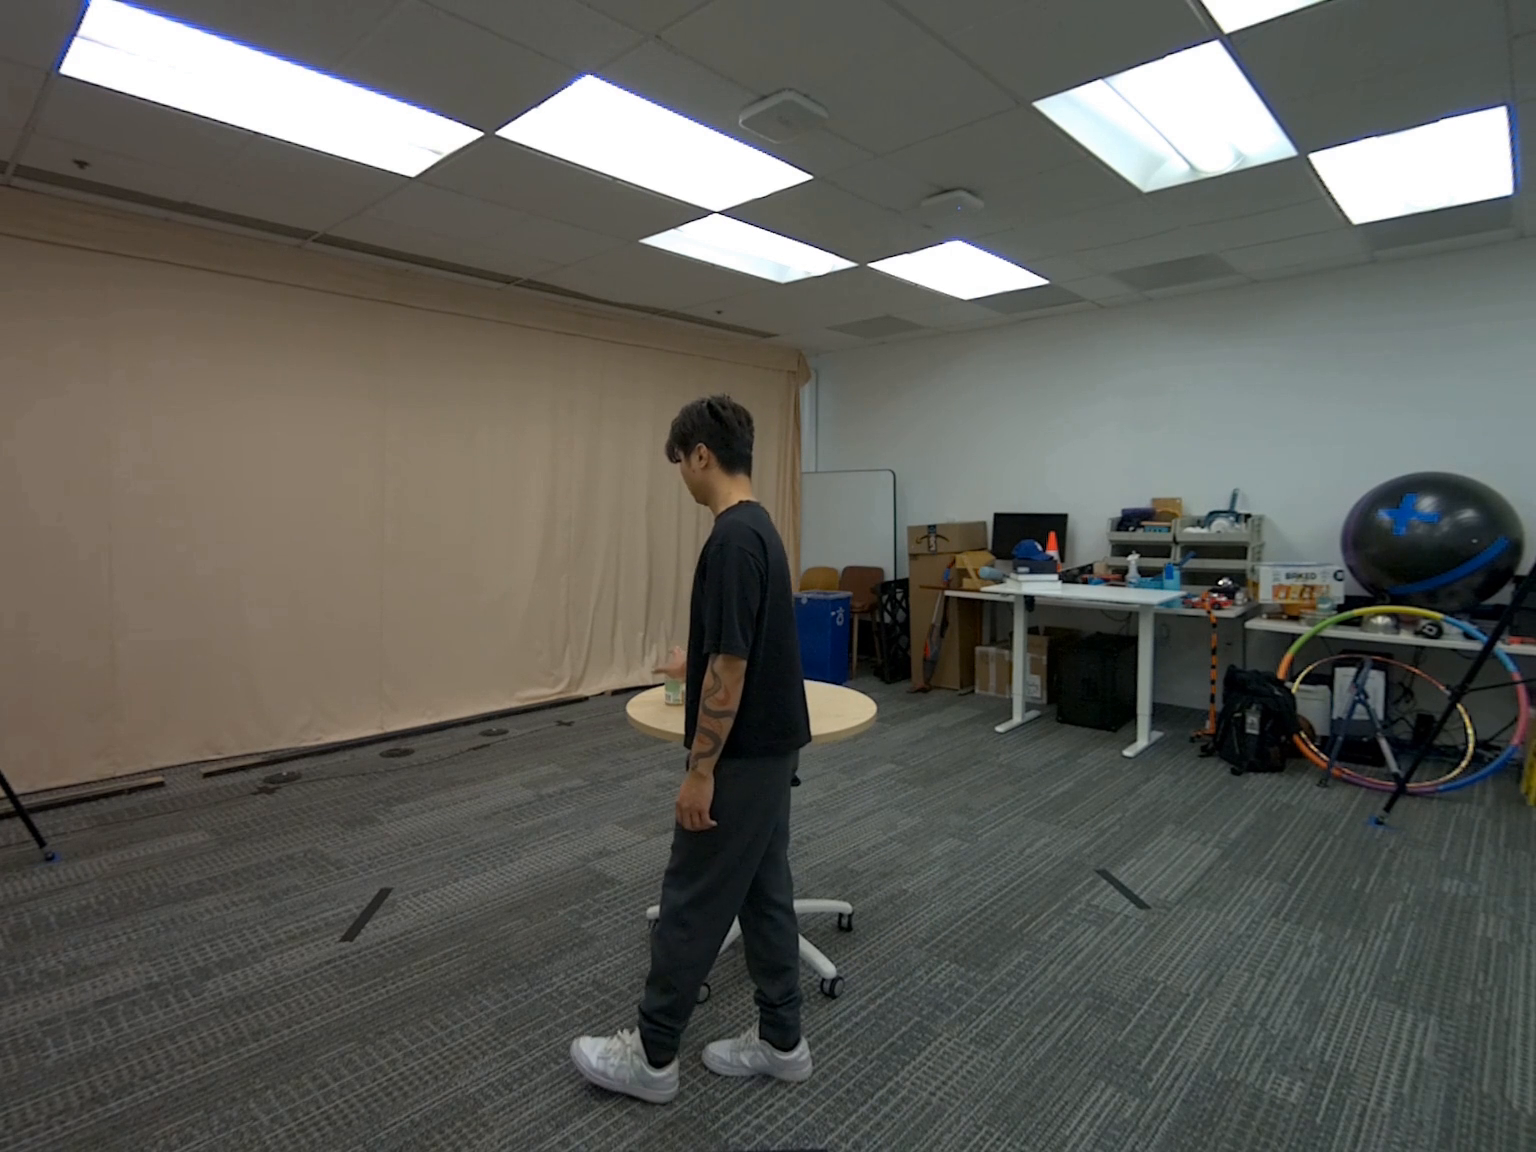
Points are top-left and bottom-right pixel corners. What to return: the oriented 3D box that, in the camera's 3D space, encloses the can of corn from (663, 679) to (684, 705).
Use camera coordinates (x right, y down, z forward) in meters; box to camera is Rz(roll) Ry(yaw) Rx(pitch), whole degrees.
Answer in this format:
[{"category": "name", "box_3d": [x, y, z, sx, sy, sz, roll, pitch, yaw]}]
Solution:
[{"category": "can of corn", "box_3d": [-0.274, 0.343, 2.589, 0.074, 0.111, 0.074, -3, 4, -2]}]
